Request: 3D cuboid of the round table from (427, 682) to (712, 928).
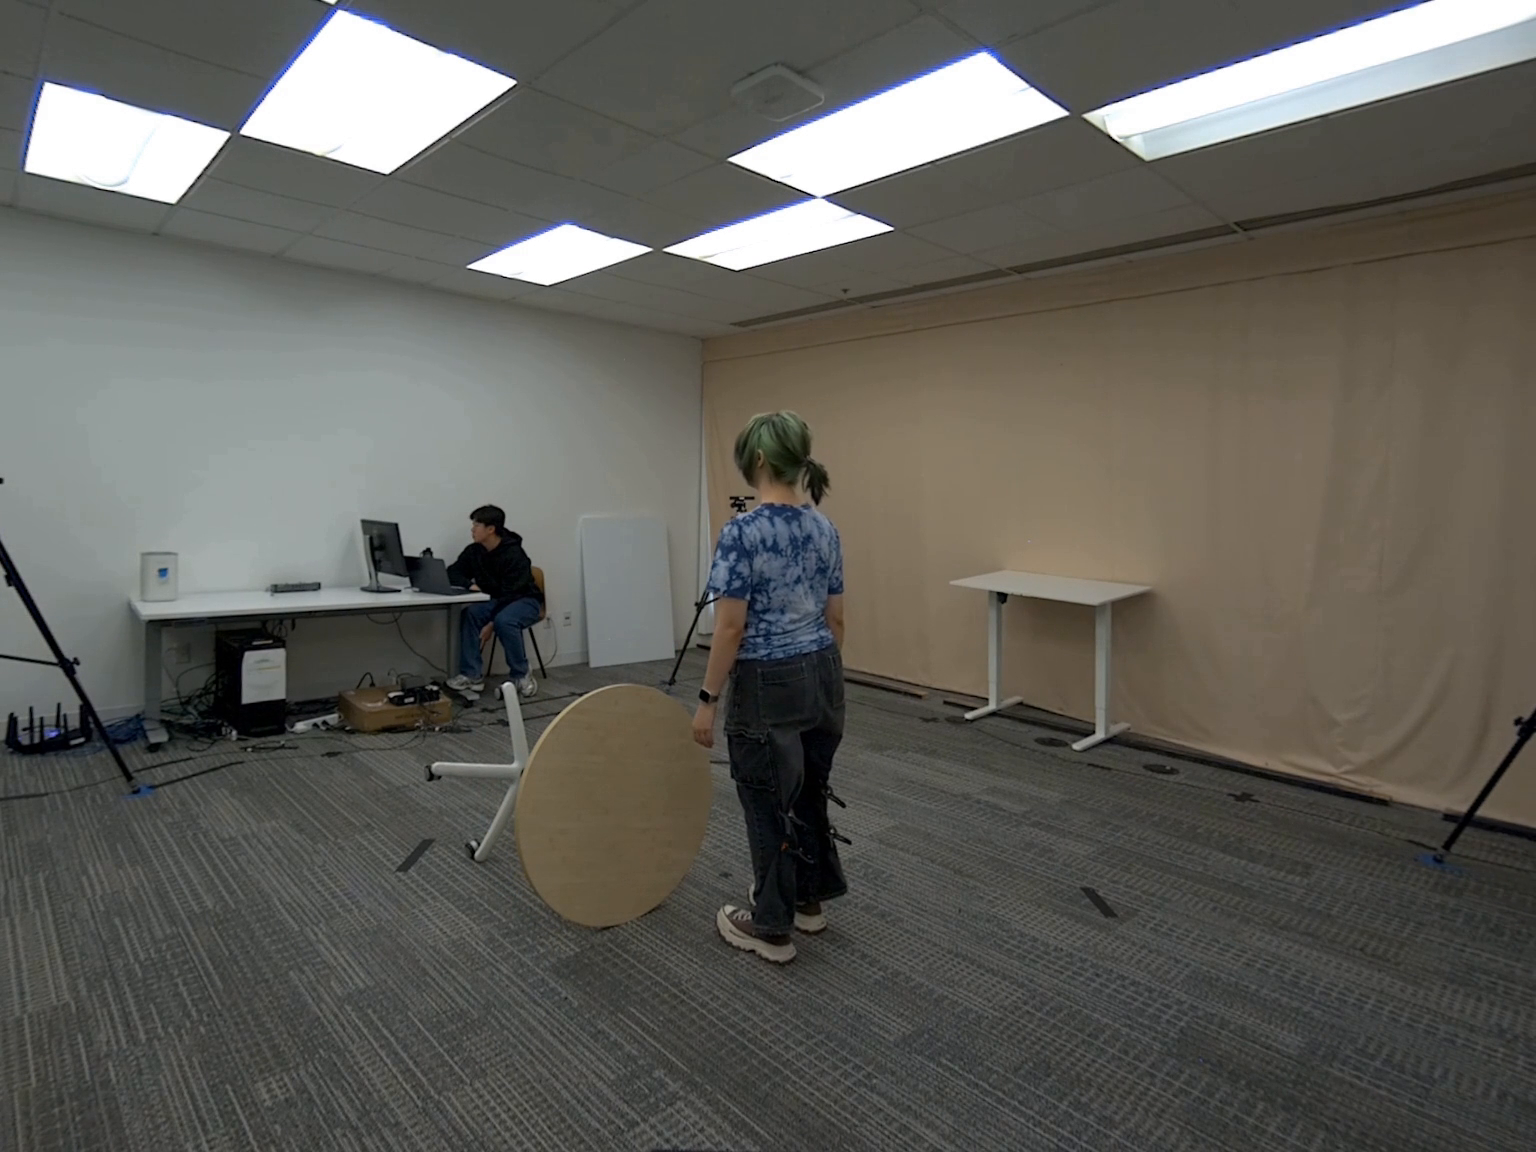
[{"bbox_3d":[-0.756,0.759,3.058,0.746,0.765,0.811,-3,-1,-44],"label":"round table"}]
